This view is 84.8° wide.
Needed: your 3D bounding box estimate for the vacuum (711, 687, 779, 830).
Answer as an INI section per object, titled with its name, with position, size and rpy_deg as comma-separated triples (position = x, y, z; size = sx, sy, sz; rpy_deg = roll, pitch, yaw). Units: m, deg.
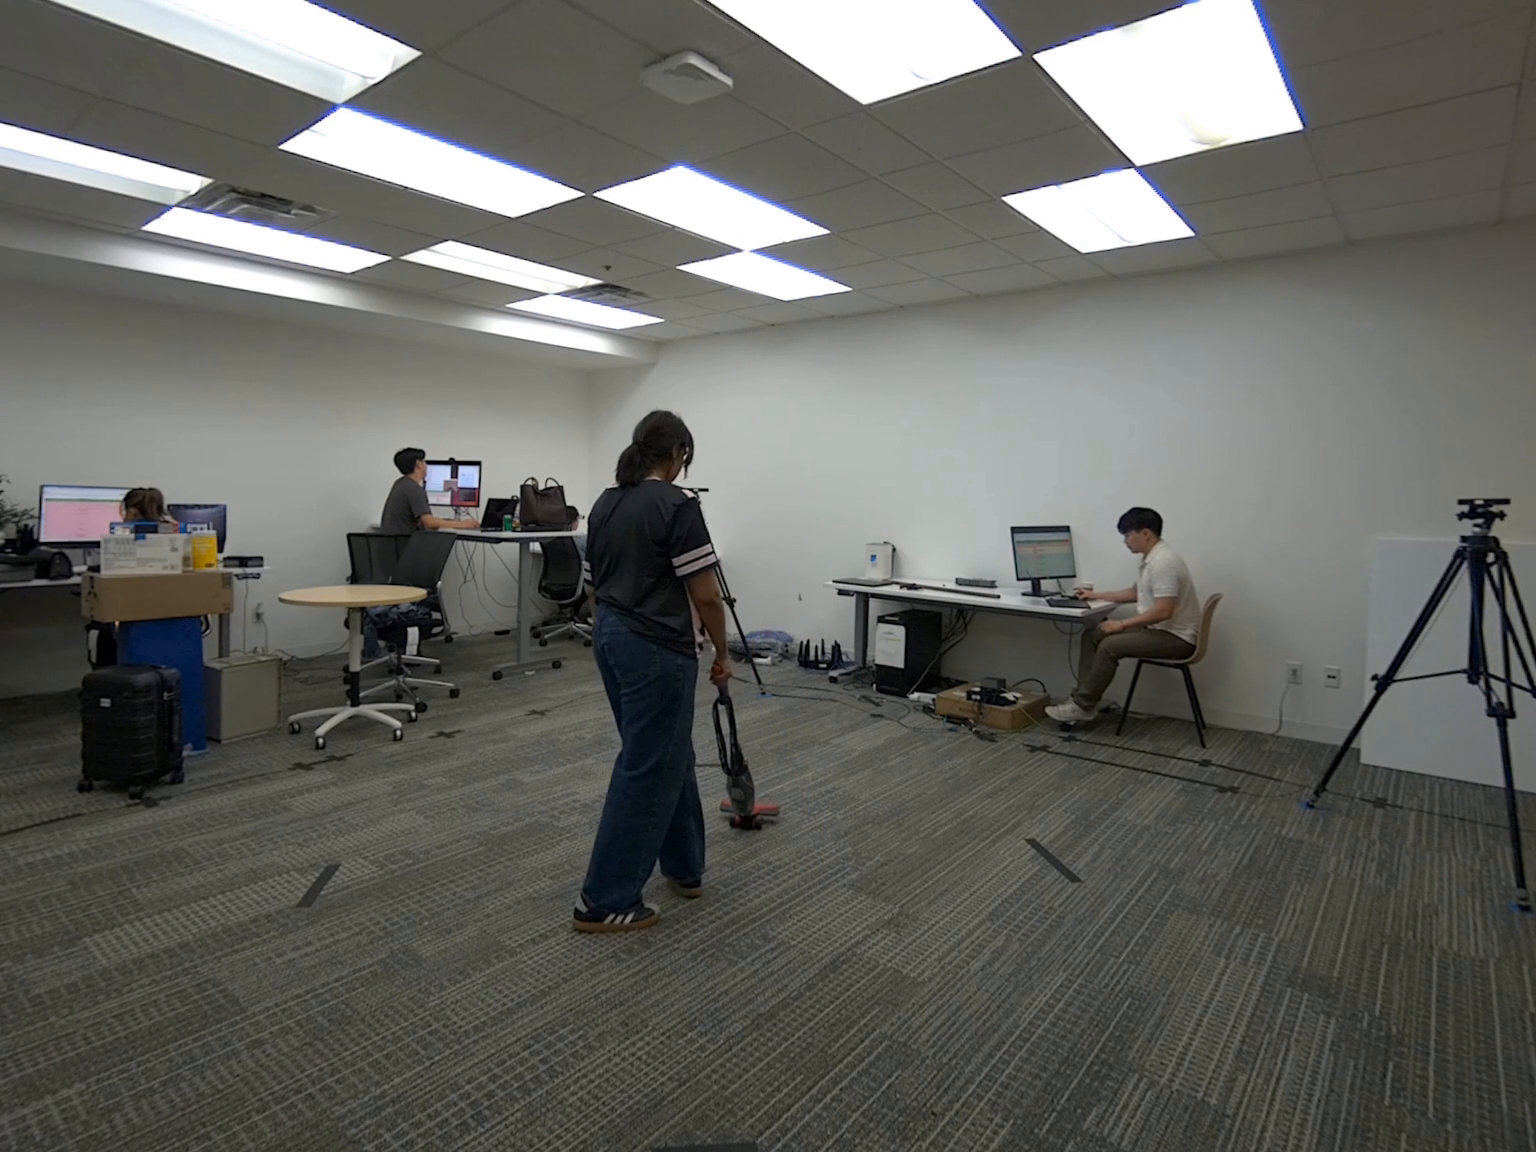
[vacuum]
position = -0.142, 0.660, 3.196
size = 0.256, 1.014, 0.147
rpy_deg = 3, 47, 11
